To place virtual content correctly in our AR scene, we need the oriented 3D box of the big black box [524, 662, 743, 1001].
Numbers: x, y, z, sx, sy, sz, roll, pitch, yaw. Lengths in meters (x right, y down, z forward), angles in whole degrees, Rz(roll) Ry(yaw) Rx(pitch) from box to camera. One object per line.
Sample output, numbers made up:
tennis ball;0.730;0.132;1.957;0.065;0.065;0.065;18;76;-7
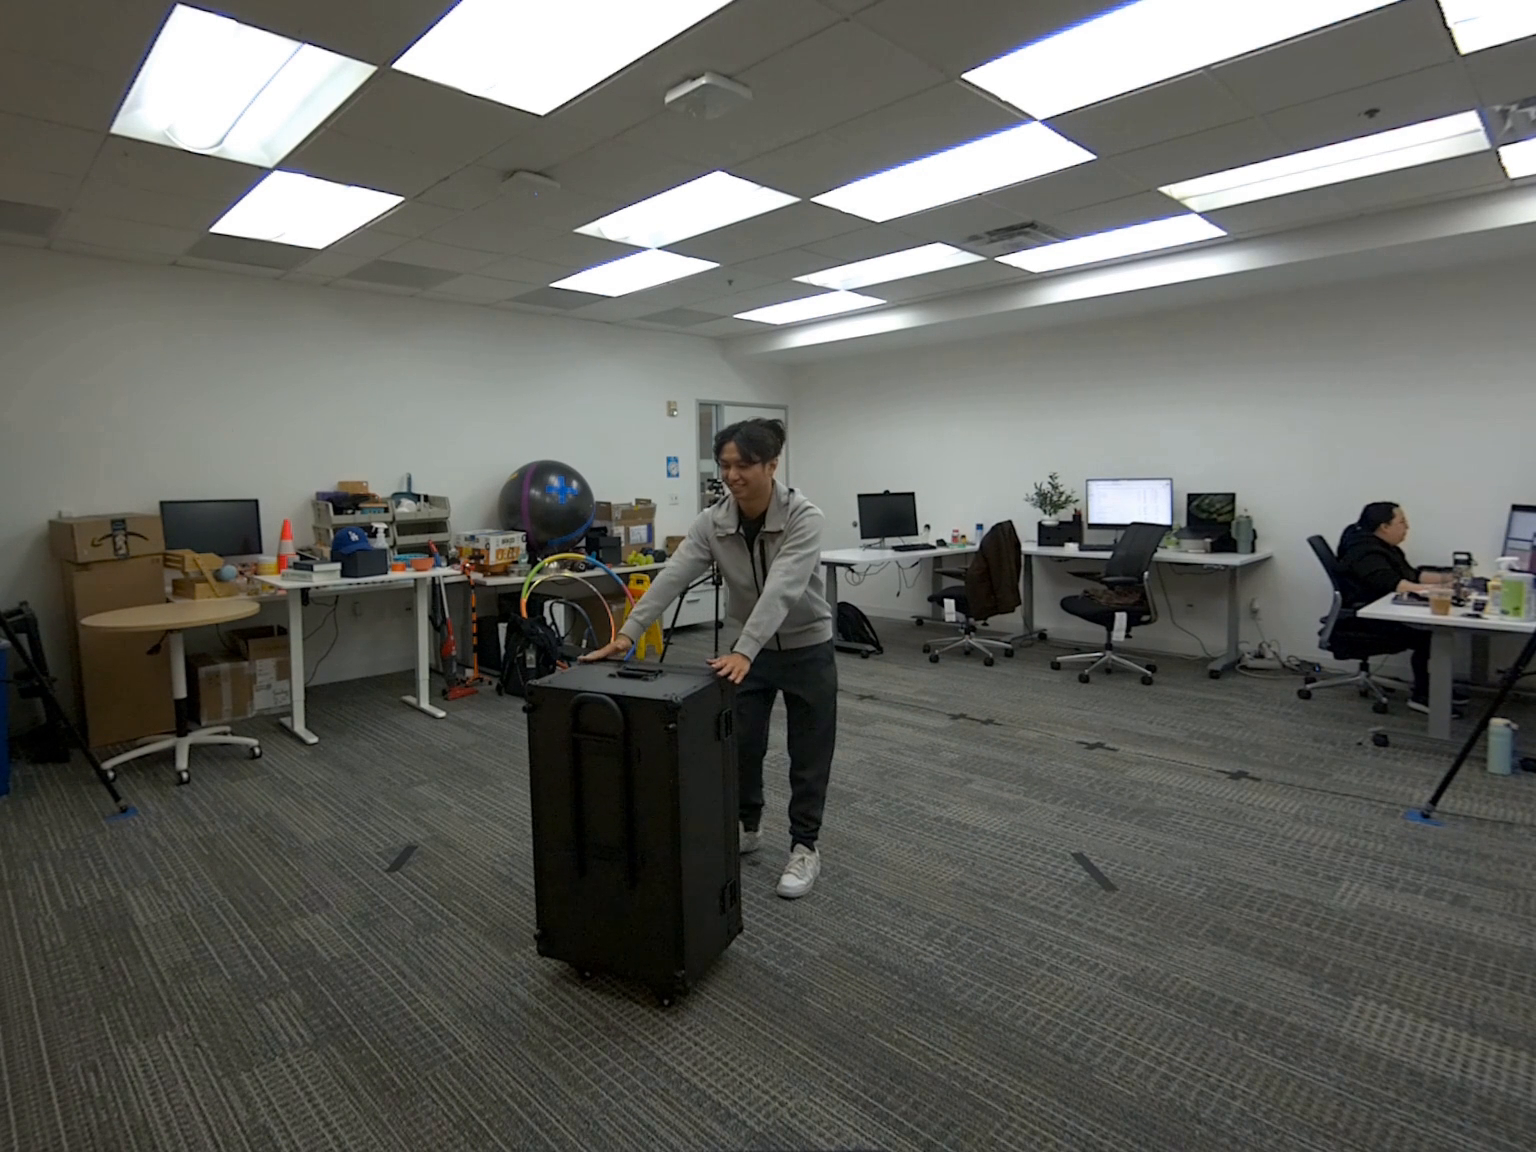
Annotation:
big black box;-0.370;0.706;2.425;0.533;0.858;0.389;1;5;26
